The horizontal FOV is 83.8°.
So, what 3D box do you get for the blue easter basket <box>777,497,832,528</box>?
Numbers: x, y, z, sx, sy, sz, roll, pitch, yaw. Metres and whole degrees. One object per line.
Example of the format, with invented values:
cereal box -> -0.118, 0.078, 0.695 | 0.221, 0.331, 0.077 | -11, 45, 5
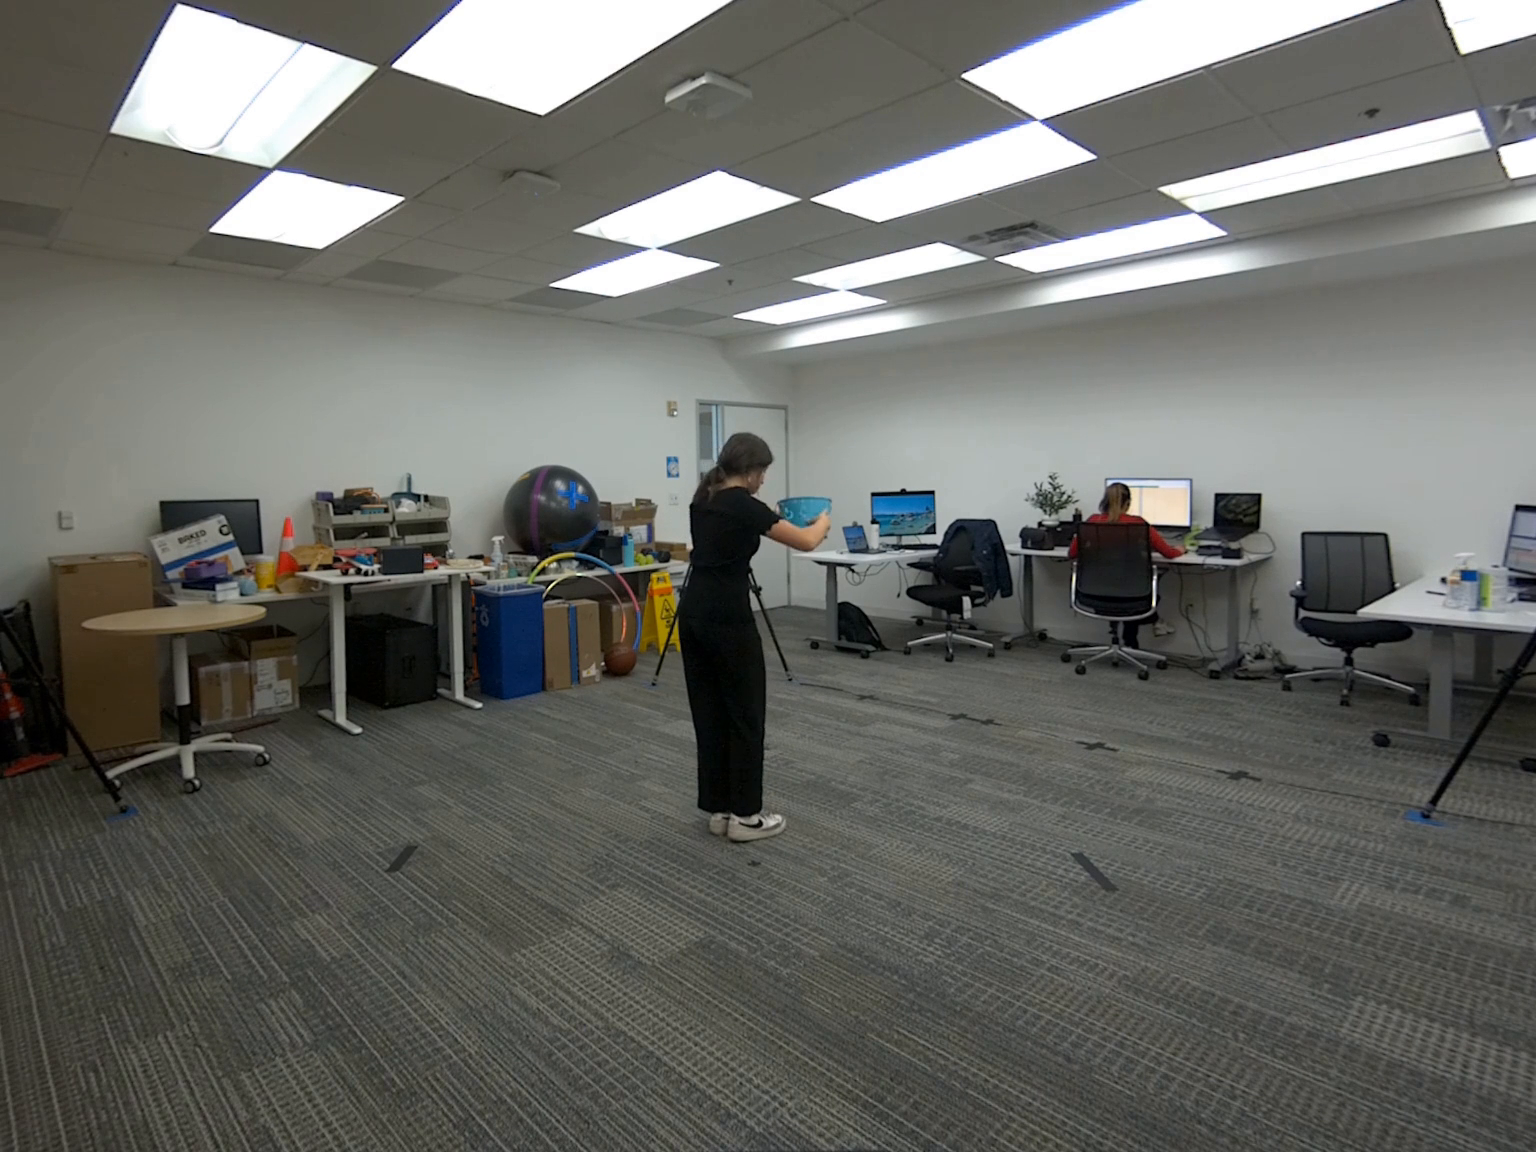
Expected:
blue easter basket -> 0.150, -0.228, 3.550 | 0.243, 0.157, 0.242 | -2, -6, -2
